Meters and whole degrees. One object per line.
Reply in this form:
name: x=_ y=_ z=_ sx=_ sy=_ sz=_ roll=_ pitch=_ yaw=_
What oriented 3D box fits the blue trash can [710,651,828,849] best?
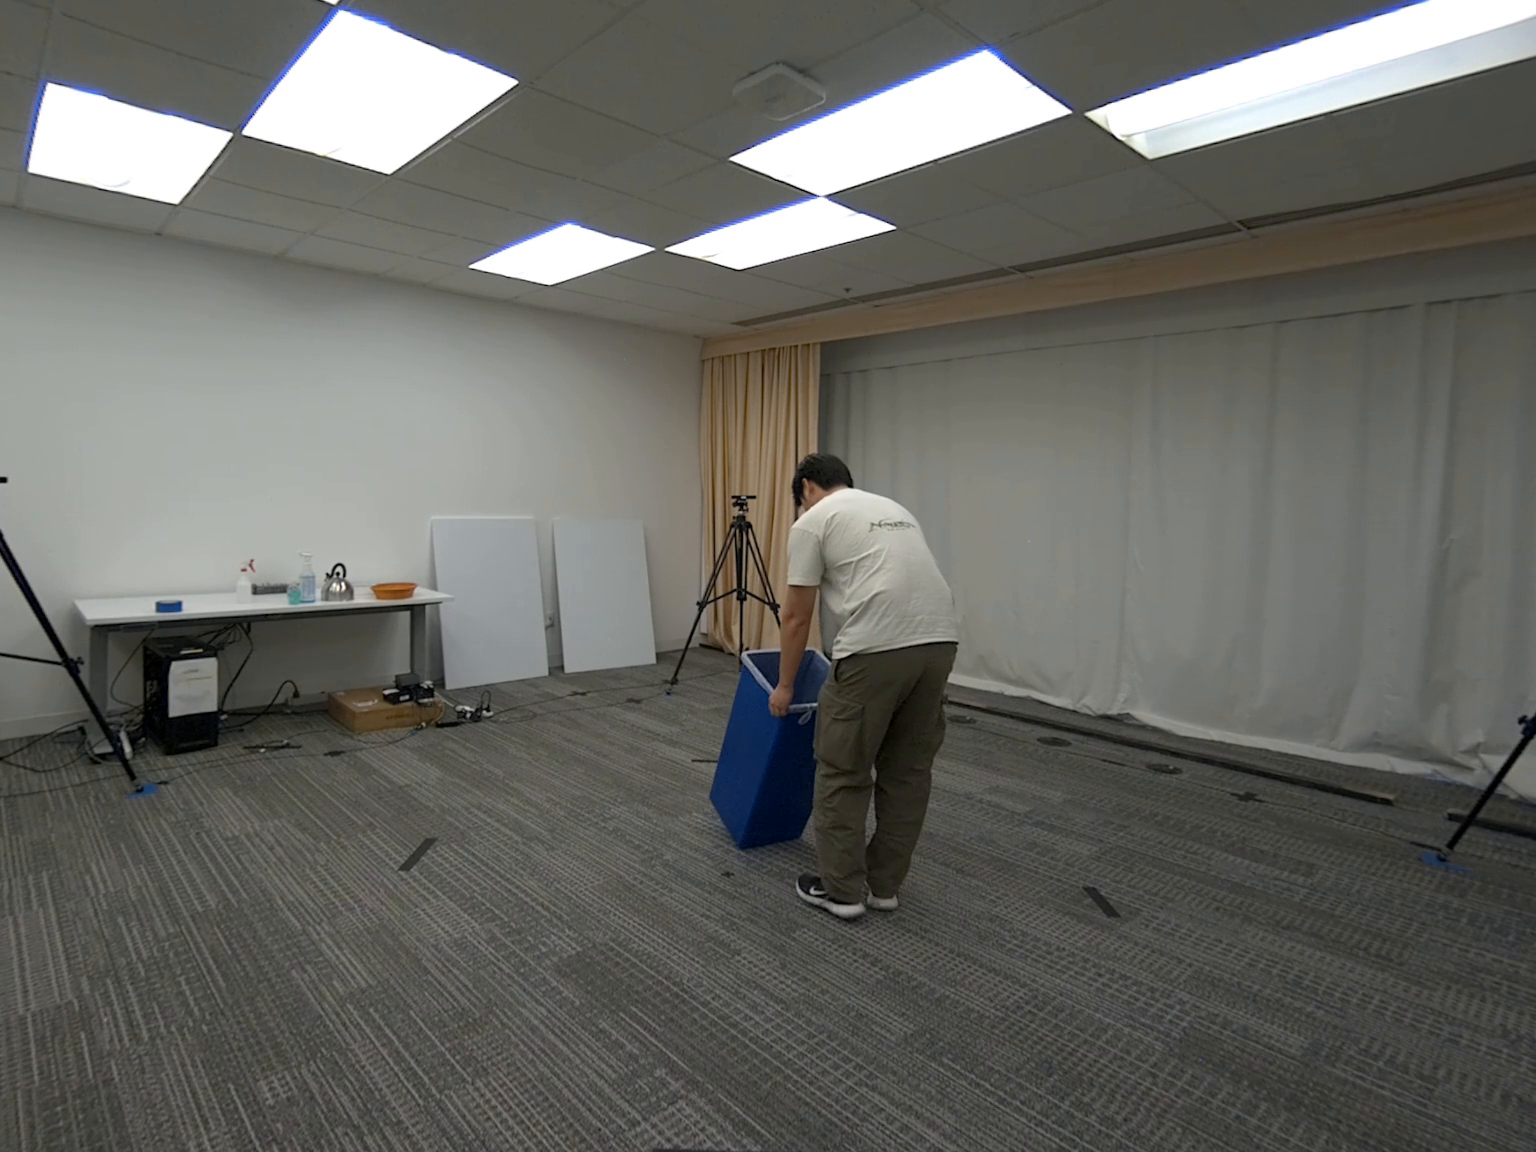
blue trash can: x=0.022 y=0.689 z=3.352 sx=0.370 sy=0.706 sz=0.386 roll=0 pitch=29 yaw=-33
